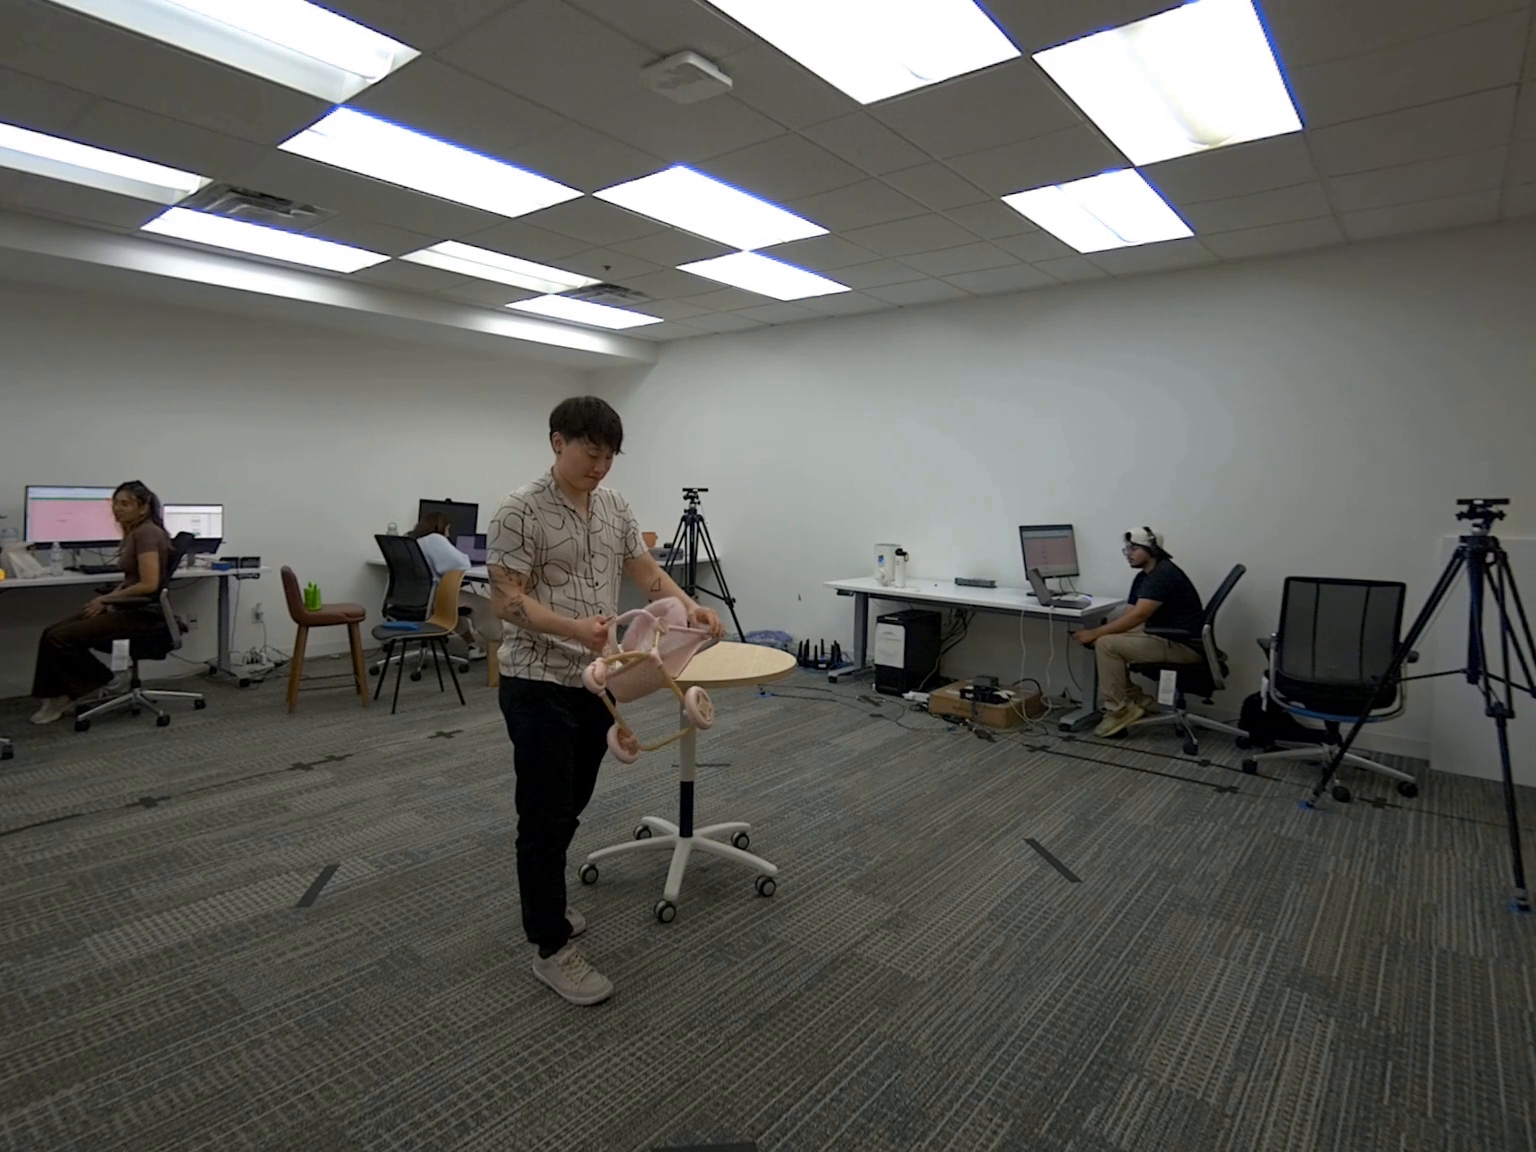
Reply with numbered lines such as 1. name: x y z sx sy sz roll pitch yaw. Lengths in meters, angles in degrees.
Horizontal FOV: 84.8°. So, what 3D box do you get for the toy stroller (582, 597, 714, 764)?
1. toy stroller: -0.330 0.229 2.275 0.284 0.333 0.543 -33 20 24
